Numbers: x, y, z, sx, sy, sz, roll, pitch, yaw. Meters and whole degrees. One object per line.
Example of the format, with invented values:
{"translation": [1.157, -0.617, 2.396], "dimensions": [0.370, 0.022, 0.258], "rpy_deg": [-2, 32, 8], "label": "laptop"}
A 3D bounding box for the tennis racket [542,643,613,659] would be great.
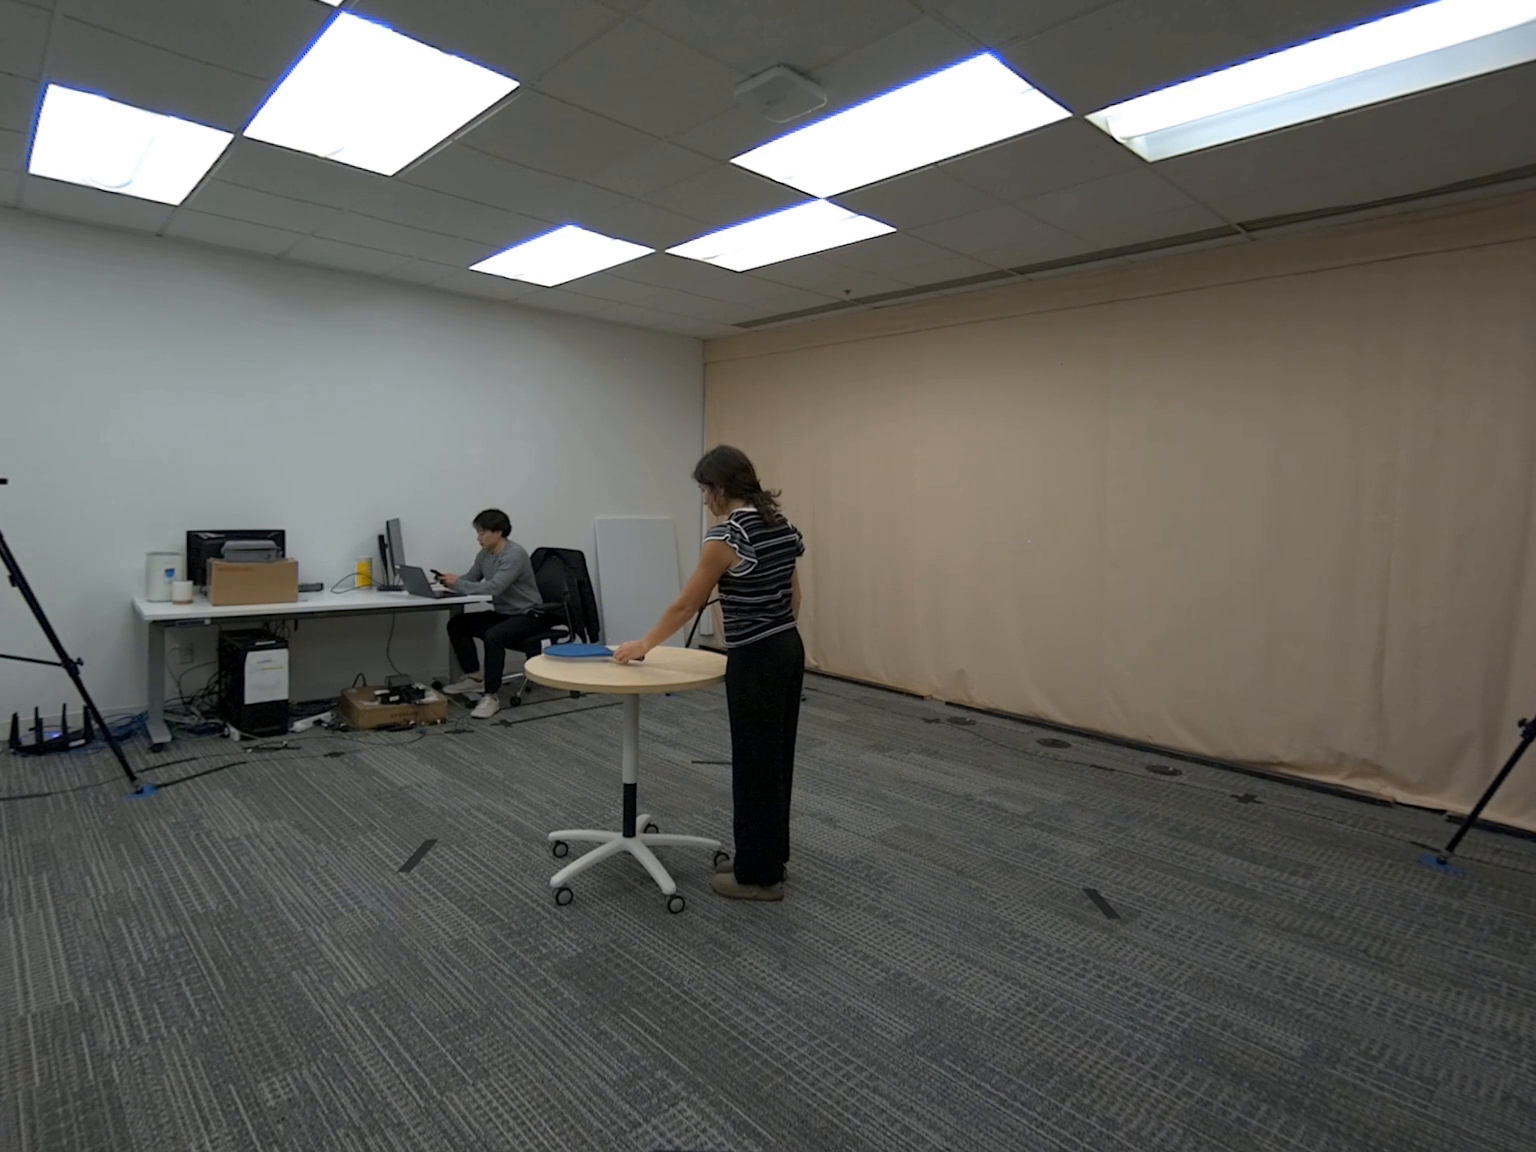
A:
{"translation": [-0.660, 0.287, 3.129], "dimensions": [0.440, 0.031, 0.211], "rpy_deg": [2, 8, 21], "label": "tennis racket"}
